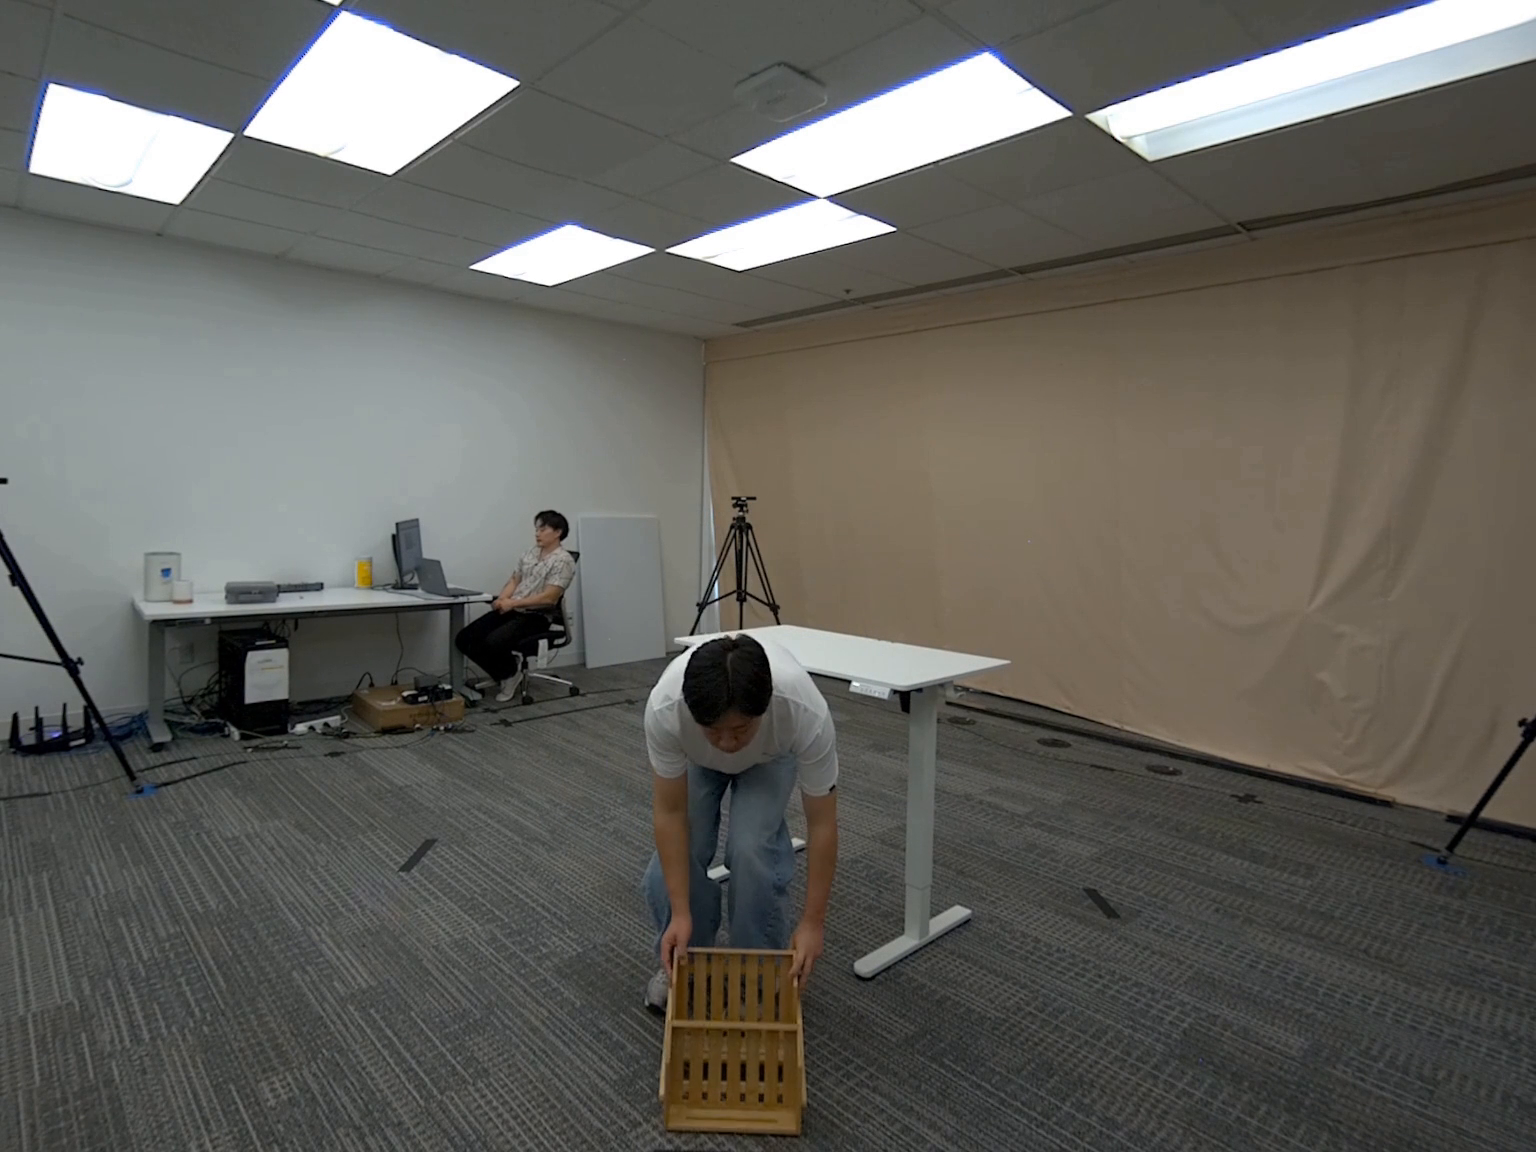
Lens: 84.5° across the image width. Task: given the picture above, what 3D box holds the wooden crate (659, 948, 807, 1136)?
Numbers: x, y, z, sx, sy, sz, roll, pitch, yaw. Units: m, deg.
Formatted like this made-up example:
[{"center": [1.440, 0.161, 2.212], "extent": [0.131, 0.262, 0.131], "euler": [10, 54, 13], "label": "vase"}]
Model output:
[{"center": [-0.091, 1.064, 1.964], "extent": [0.324, 0.302, 0.273], "euler": [2, -2, -1], "label": "wooden crate"}]
